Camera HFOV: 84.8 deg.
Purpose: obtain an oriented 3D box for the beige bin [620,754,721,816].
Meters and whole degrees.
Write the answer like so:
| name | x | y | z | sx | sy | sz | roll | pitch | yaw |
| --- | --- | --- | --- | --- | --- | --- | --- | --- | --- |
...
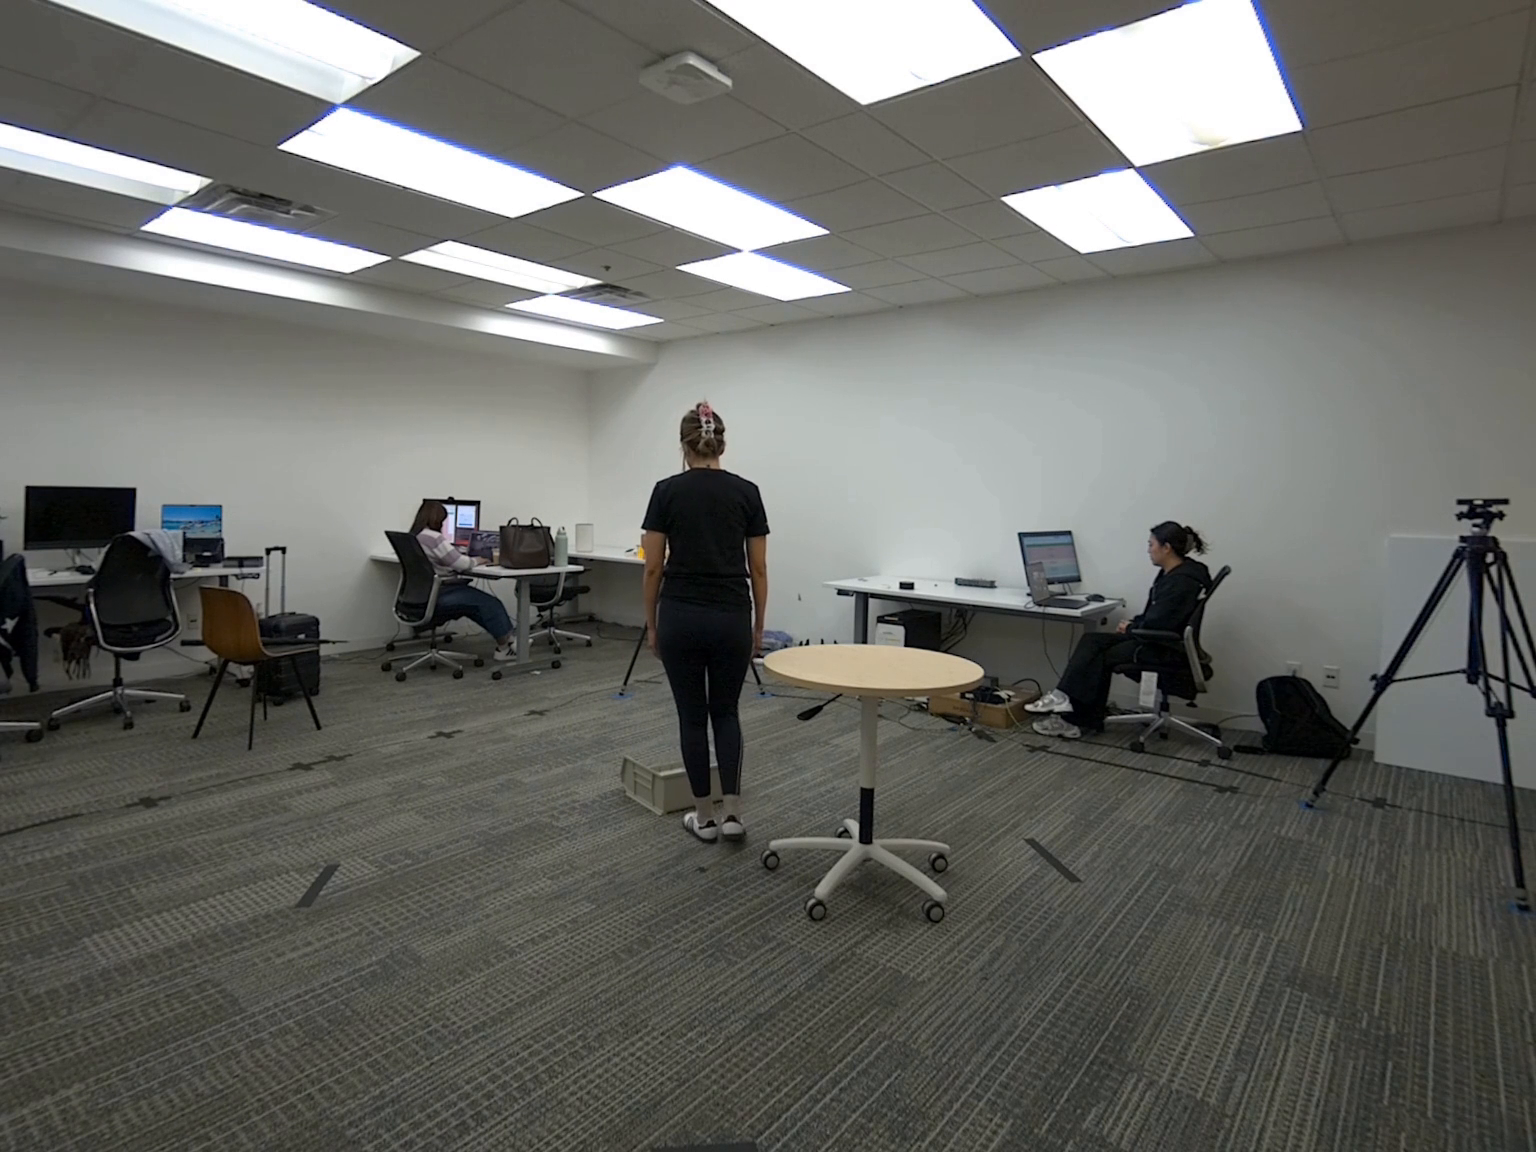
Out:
| name | x | y | z | sx | sy | sz | roll | pitch | yaw |
| --- | --- | --- | --- | --- | --- | --- | --- | --- | --- |
| beige bin | -0.413 | 0.904 | 3.865 | 0.410 | 0.188 | 0.390 | -3 | 7 | -36 |
